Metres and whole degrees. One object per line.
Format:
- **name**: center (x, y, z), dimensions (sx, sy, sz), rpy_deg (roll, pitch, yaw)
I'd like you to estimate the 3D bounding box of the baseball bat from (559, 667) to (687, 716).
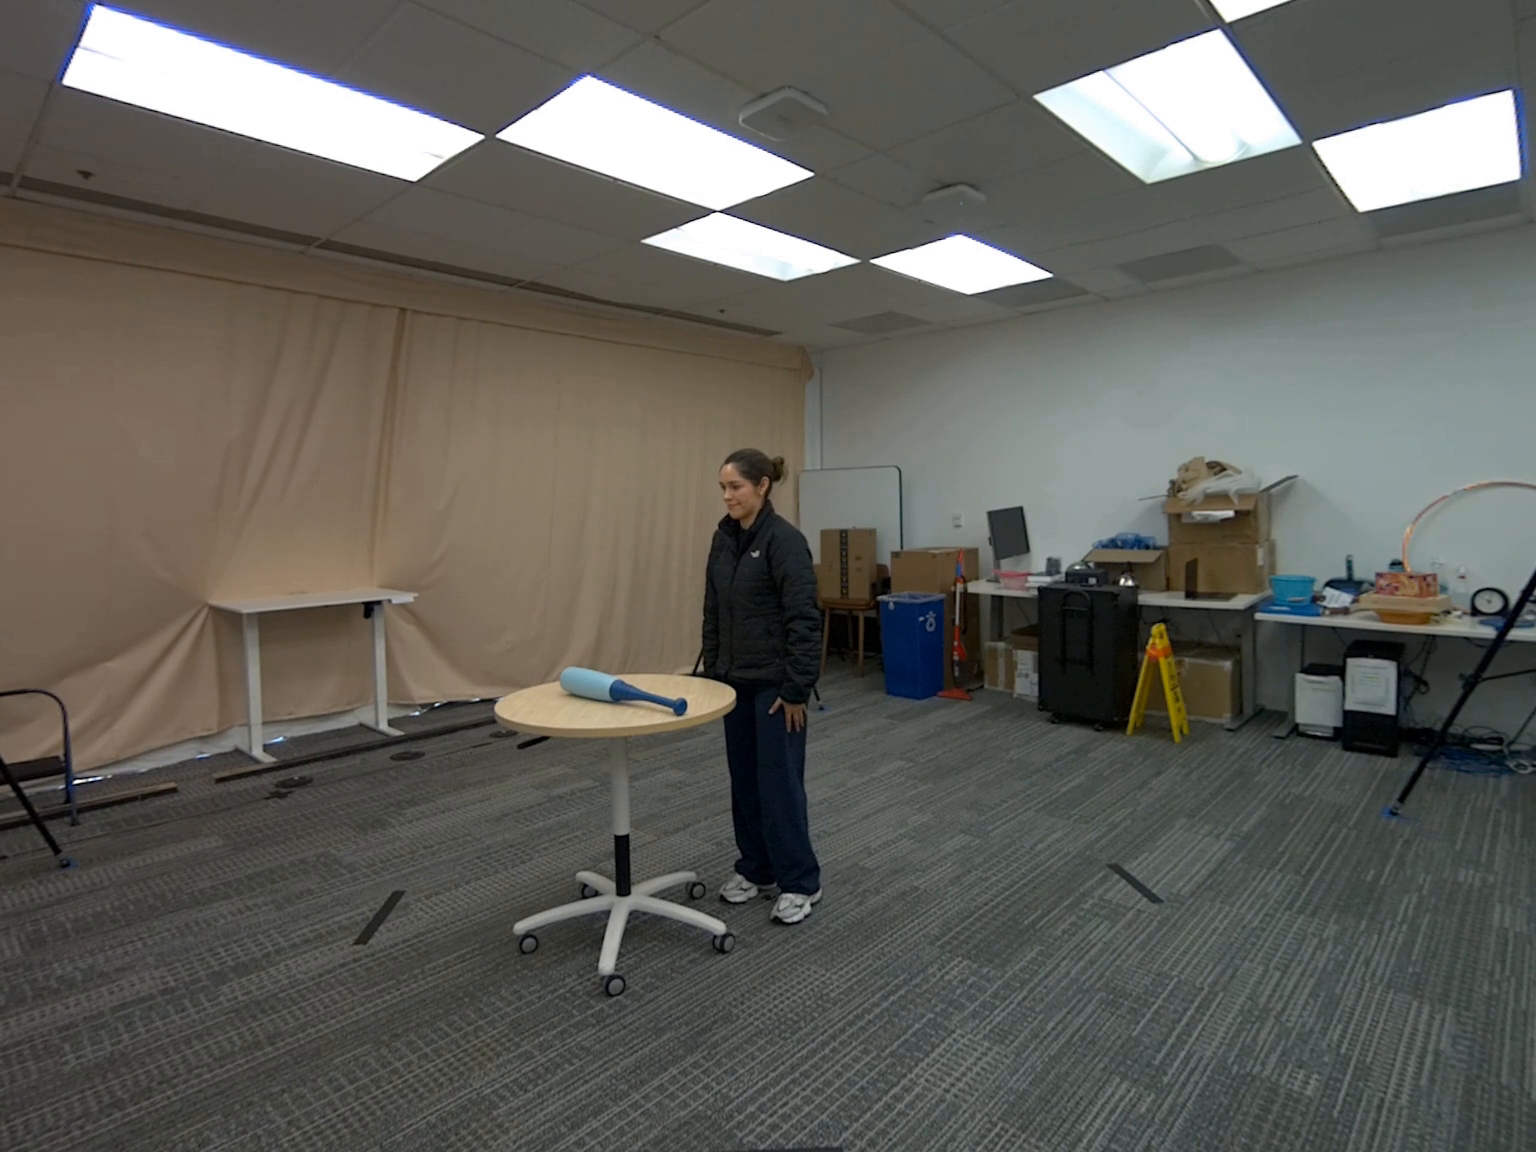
- **baseball bat**: center (-0.432, 0.361, 2.621), dimensions (0.561, 0.089, 0.086), rpy_deg (5, 6, 40)
